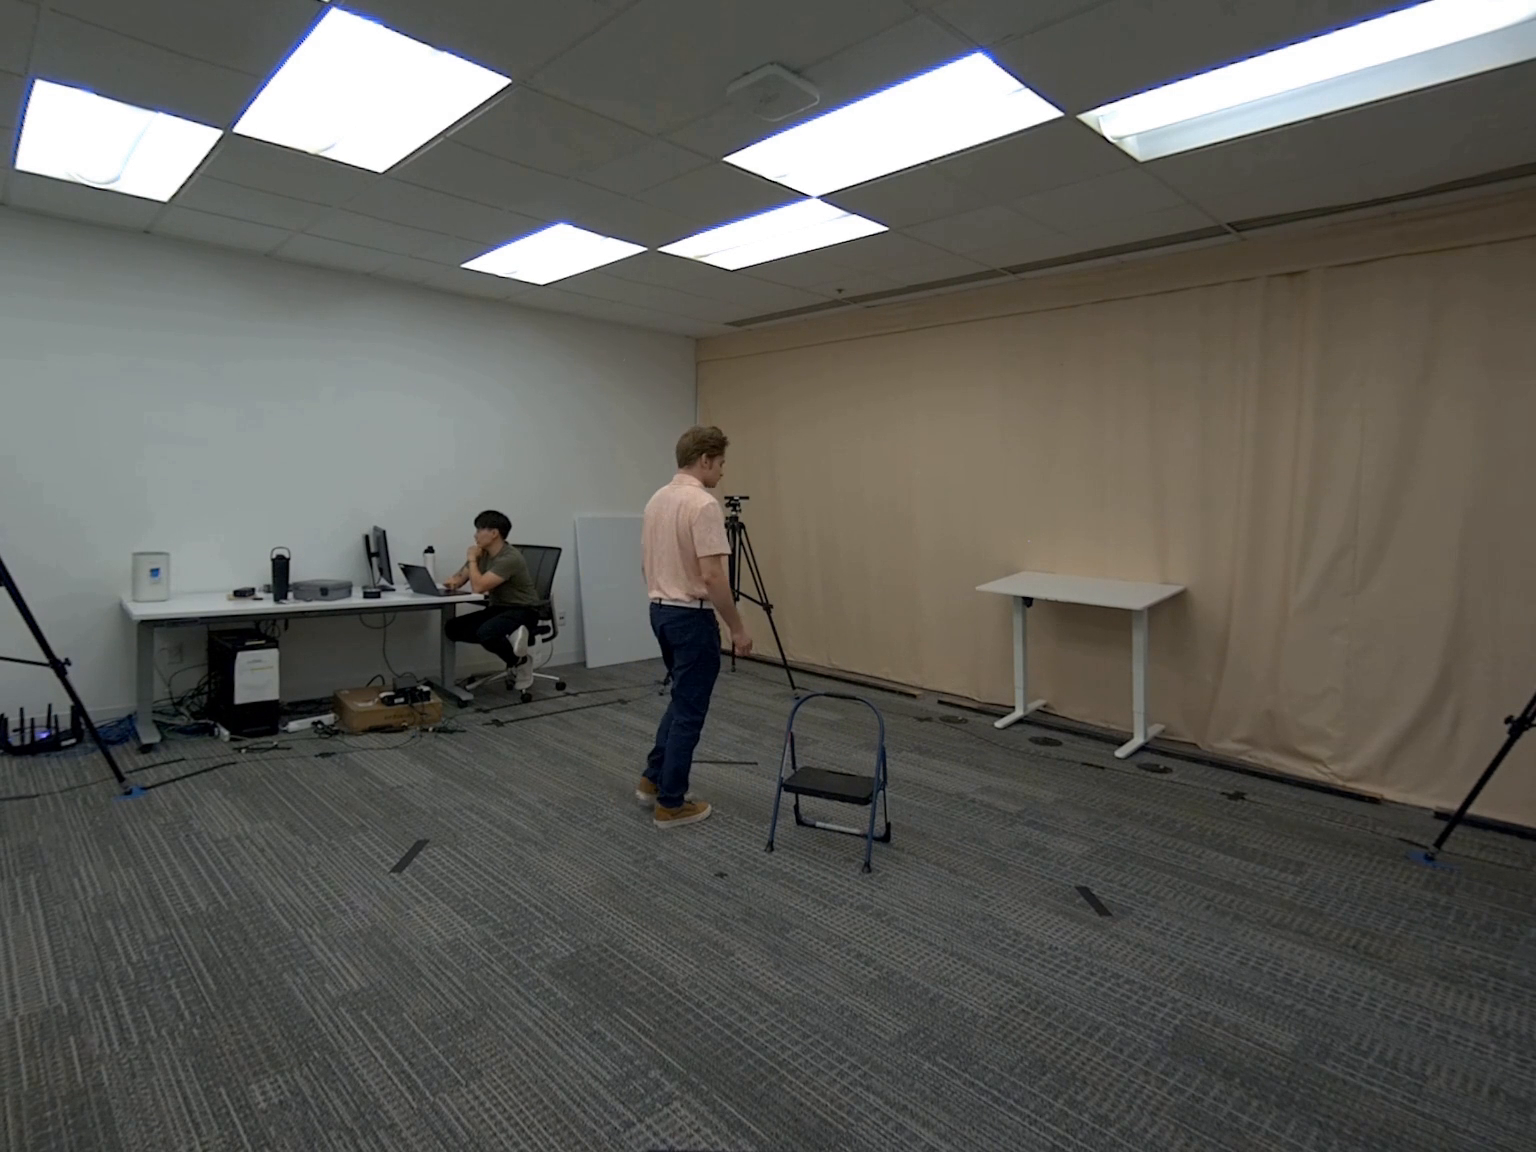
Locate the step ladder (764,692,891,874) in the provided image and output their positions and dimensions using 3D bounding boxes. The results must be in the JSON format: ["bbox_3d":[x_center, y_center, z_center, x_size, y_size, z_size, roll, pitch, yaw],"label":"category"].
[{"bbox_3d":[0.253,0.786,3.375,0.439,0.604,0.343,4,4,24],"label":"step ladder"}]
